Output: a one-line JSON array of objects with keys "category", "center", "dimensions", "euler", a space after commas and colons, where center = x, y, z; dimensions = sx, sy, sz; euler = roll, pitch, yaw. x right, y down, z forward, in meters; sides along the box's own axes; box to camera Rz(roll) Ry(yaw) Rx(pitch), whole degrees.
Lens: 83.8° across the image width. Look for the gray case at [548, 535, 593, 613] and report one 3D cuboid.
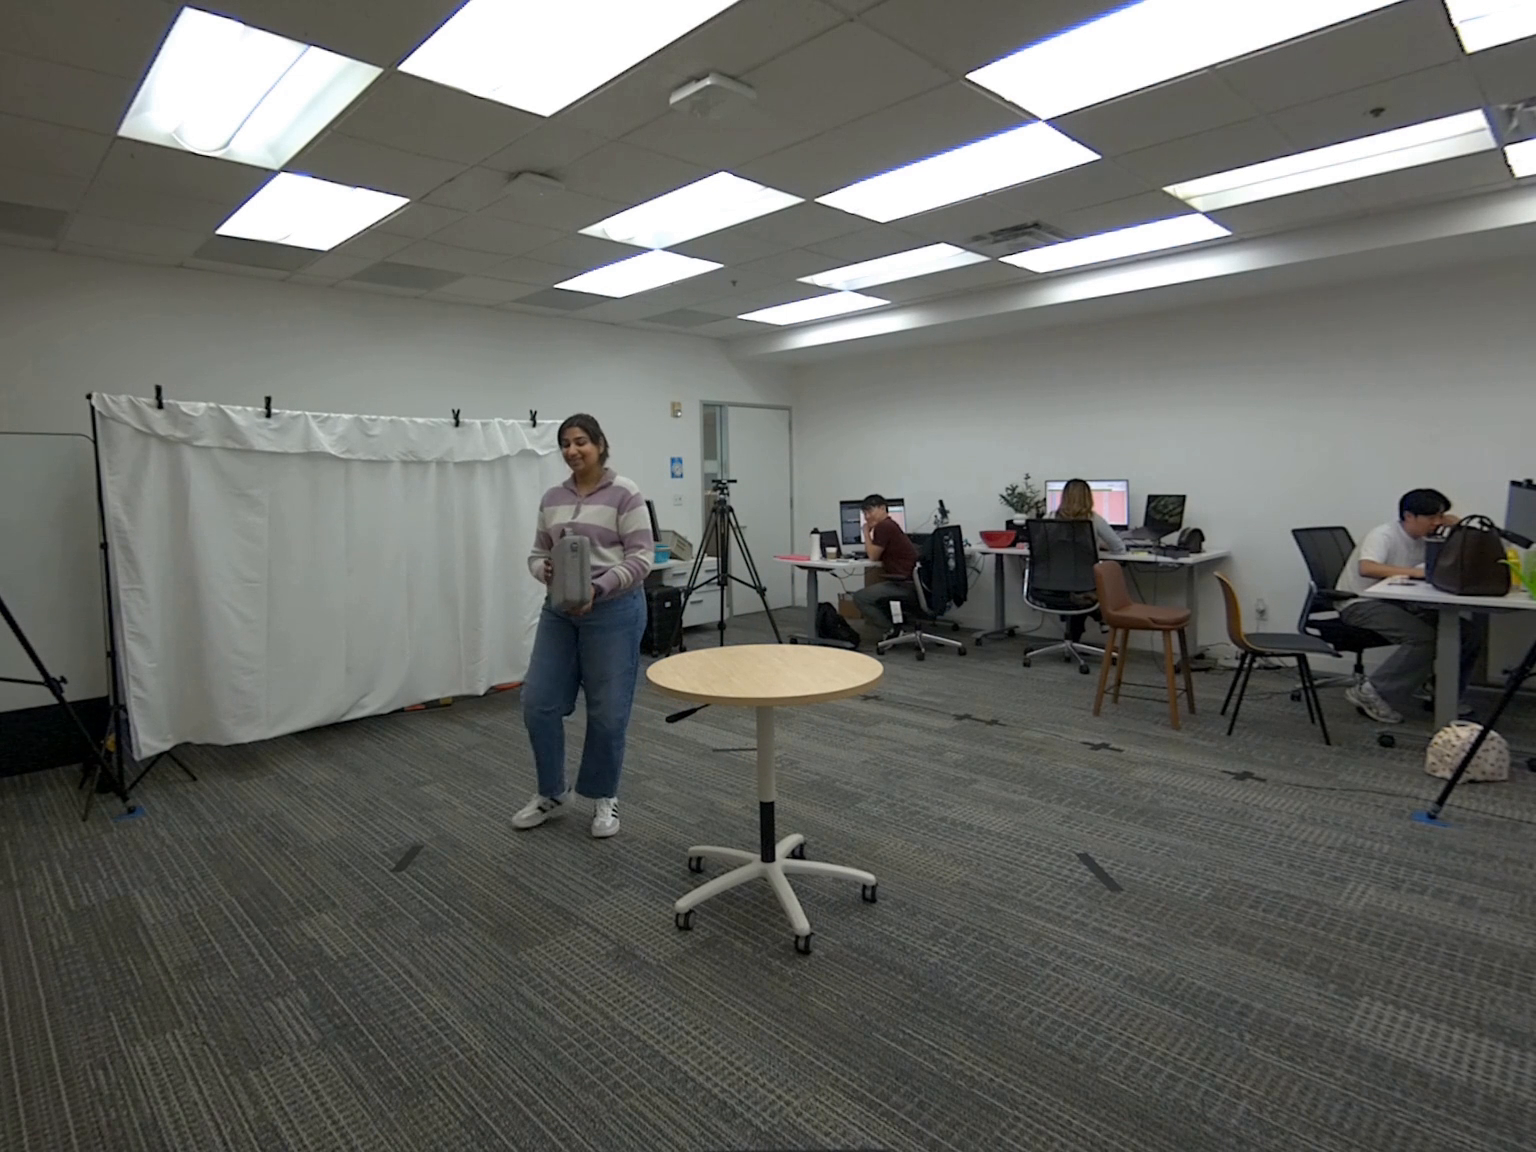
[{"category": "gray case", "center": [-0.734, -0.011, 3.151], "dimensions": [0.102, 0.263, 0.258], "euler": [-1, -11, -19]}]
